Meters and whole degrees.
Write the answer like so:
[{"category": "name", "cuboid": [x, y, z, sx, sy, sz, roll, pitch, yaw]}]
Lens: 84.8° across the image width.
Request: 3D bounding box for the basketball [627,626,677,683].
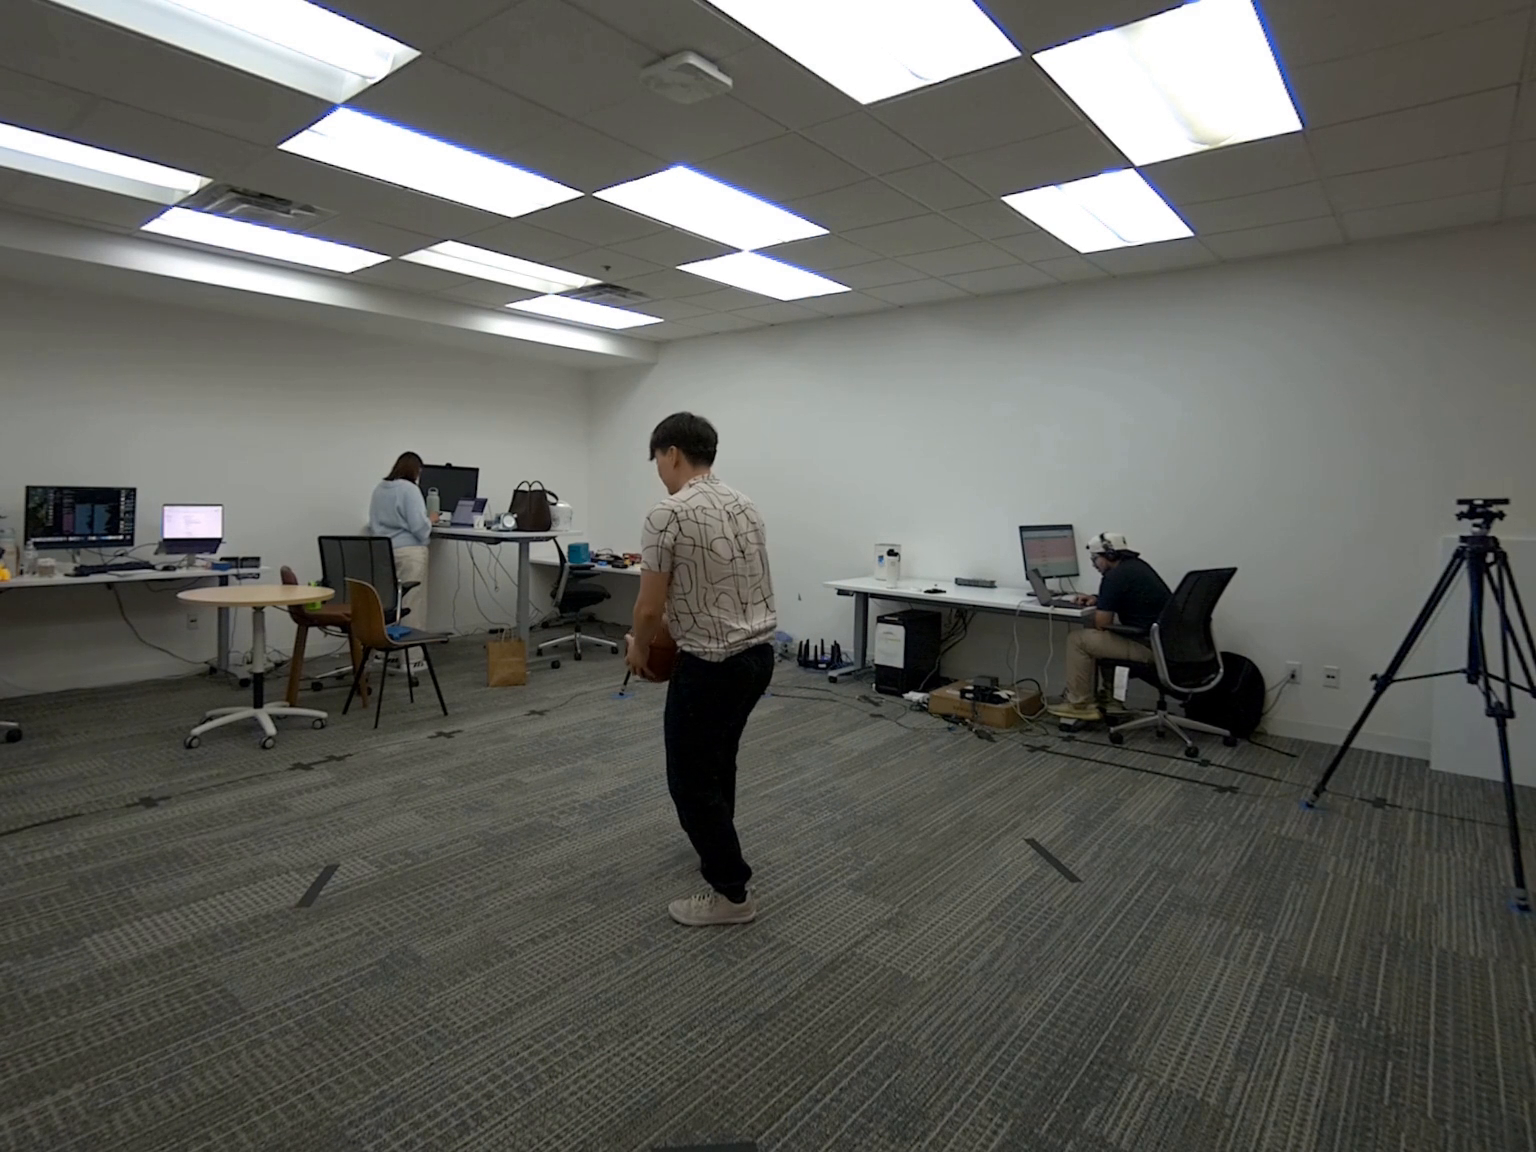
[{"category": "basketball", "cuboid": [-0.383, 0.230, 2.958, 0.235, 0.235, 0.237, 1, 4, -2]}]
